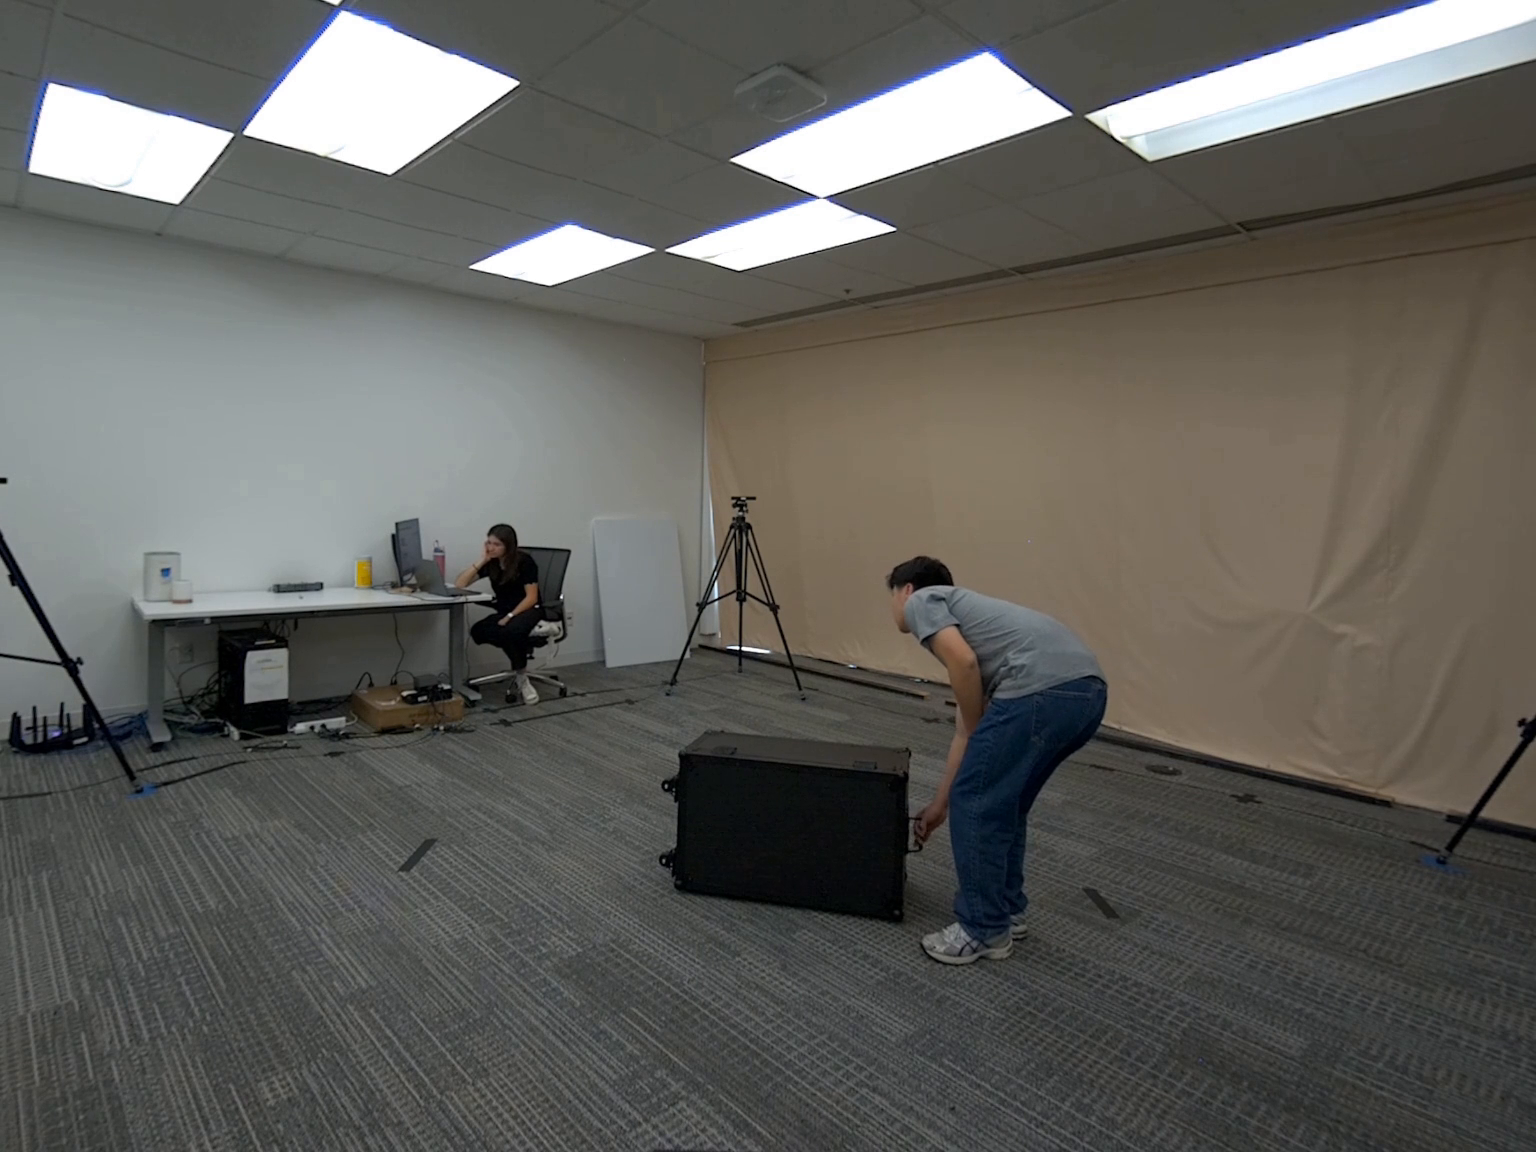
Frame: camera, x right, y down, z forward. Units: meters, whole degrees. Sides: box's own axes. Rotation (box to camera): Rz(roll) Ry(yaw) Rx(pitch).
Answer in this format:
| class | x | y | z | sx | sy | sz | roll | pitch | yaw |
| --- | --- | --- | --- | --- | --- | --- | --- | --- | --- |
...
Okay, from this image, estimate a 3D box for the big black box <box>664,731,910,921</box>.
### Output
| class | x | y | z | sx | sy | sz | roll | pitch | yaw |
| --- | --- | --- | --- | --- | --- | --- | --- | --- | --- |
| big black box | 0.126 | 0.866 | 3.026 | 0.872 | 0.521 | 0.392 | 3 | 2 | 14 |
